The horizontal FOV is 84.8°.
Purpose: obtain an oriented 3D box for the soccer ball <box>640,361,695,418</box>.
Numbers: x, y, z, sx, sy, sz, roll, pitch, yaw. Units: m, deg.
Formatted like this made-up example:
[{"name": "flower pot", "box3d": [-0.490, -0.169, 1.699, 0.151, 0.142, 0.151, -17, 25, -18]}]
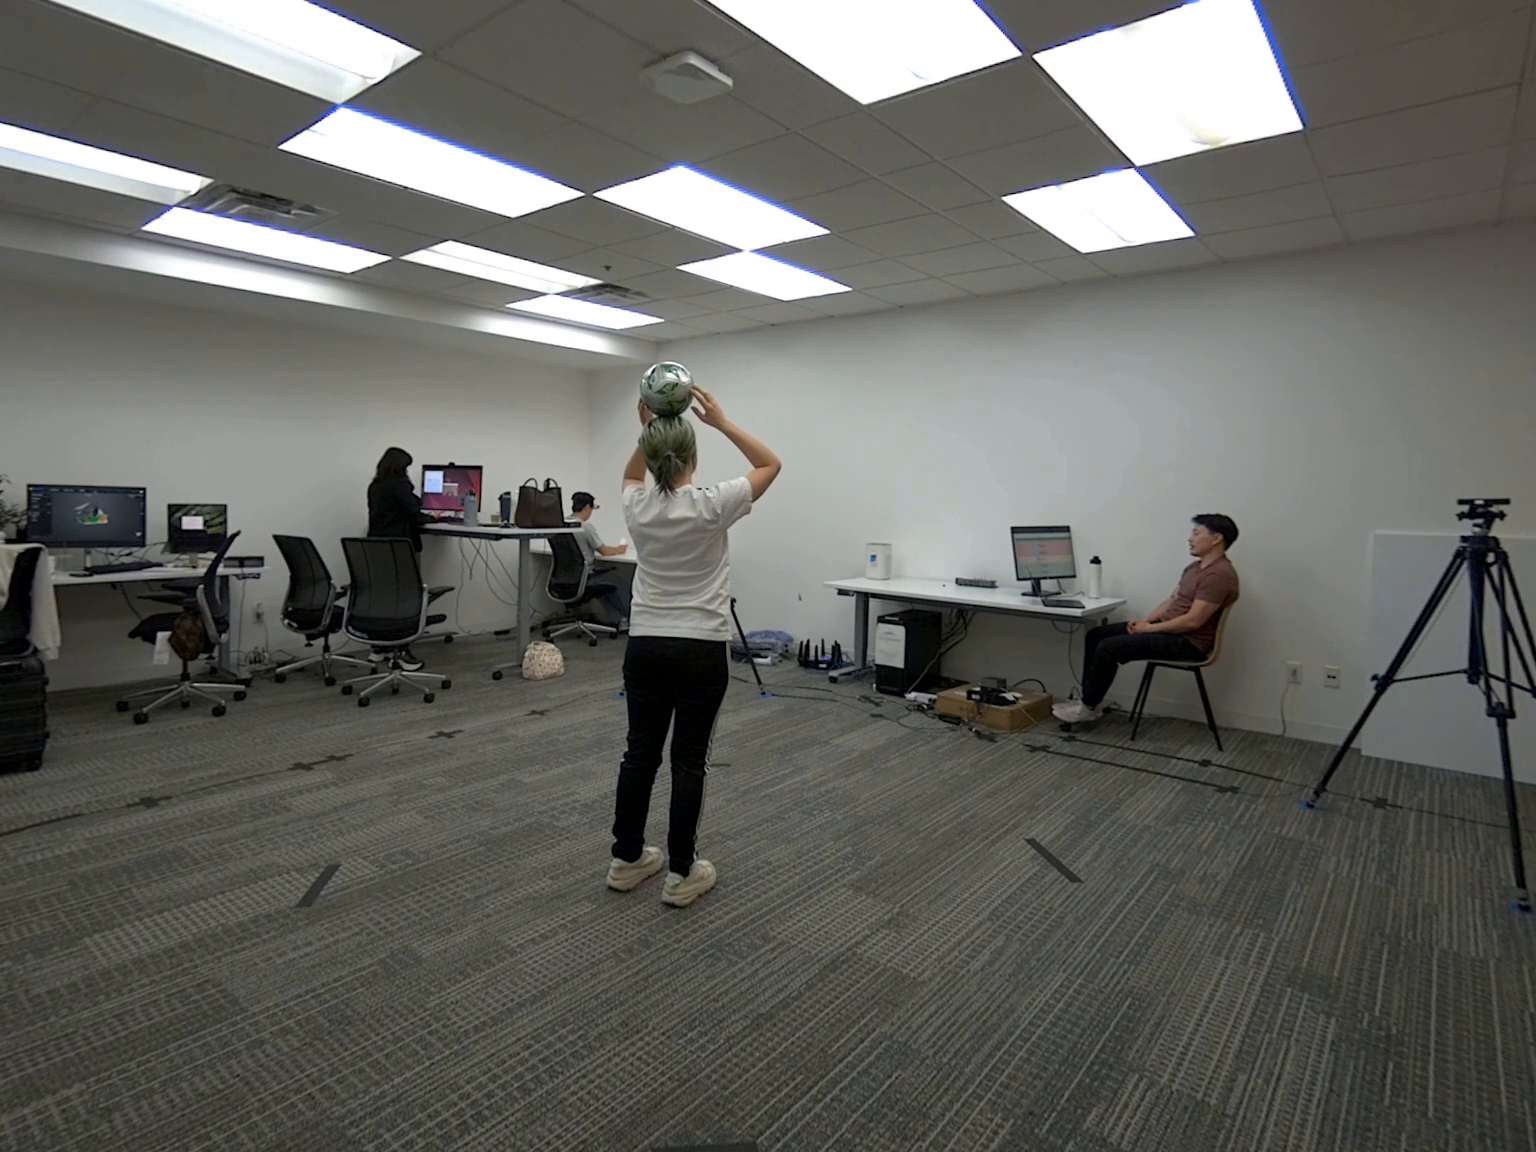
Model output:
[{"name": "soccer ball", "box3d": [-0.356, -0.638, 2.900, 0.187, 0.187, 0.188, 1, 4, -2]}]
